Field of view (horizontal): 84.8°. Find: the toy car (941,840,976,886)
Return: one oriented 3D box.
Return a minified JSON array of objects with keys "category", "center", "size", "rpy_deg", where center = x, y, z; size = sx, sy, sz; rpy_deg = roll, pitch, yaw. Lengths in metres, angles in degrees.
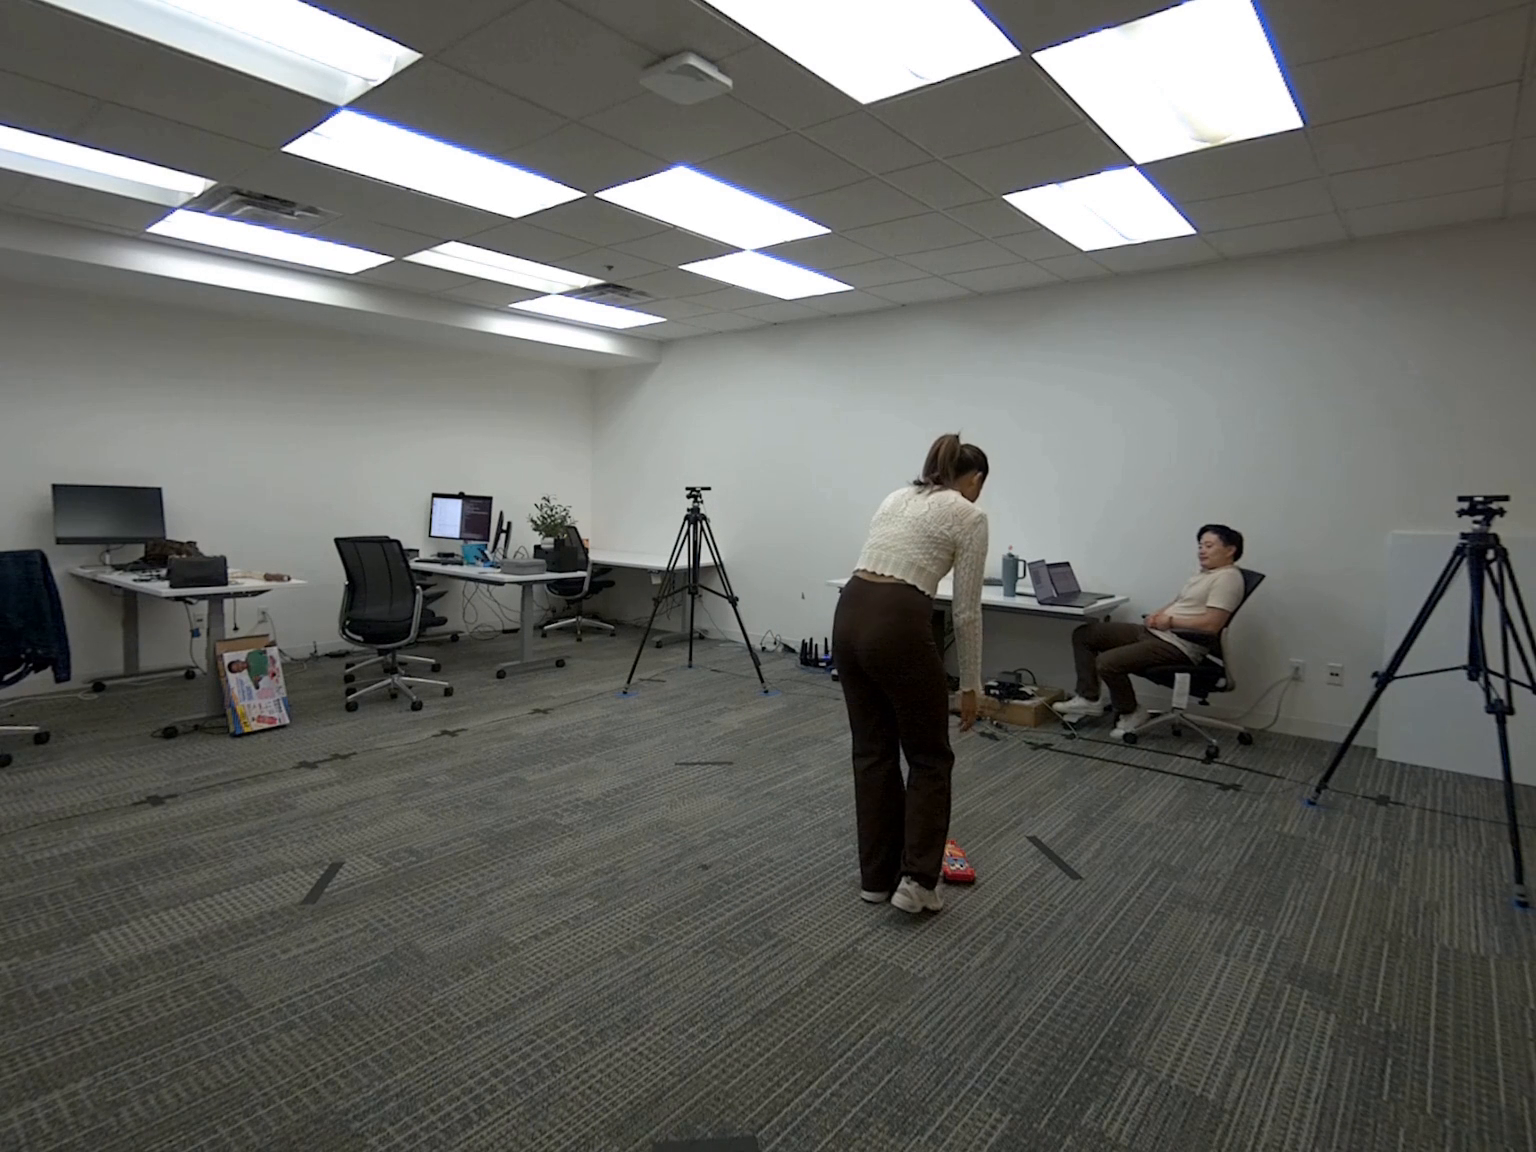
[{"category":"toy car","center":[0.676,1.049,3.142],"size":[0.130,0.082,0.258],"rpy_deg":[1,18,-1]}]
